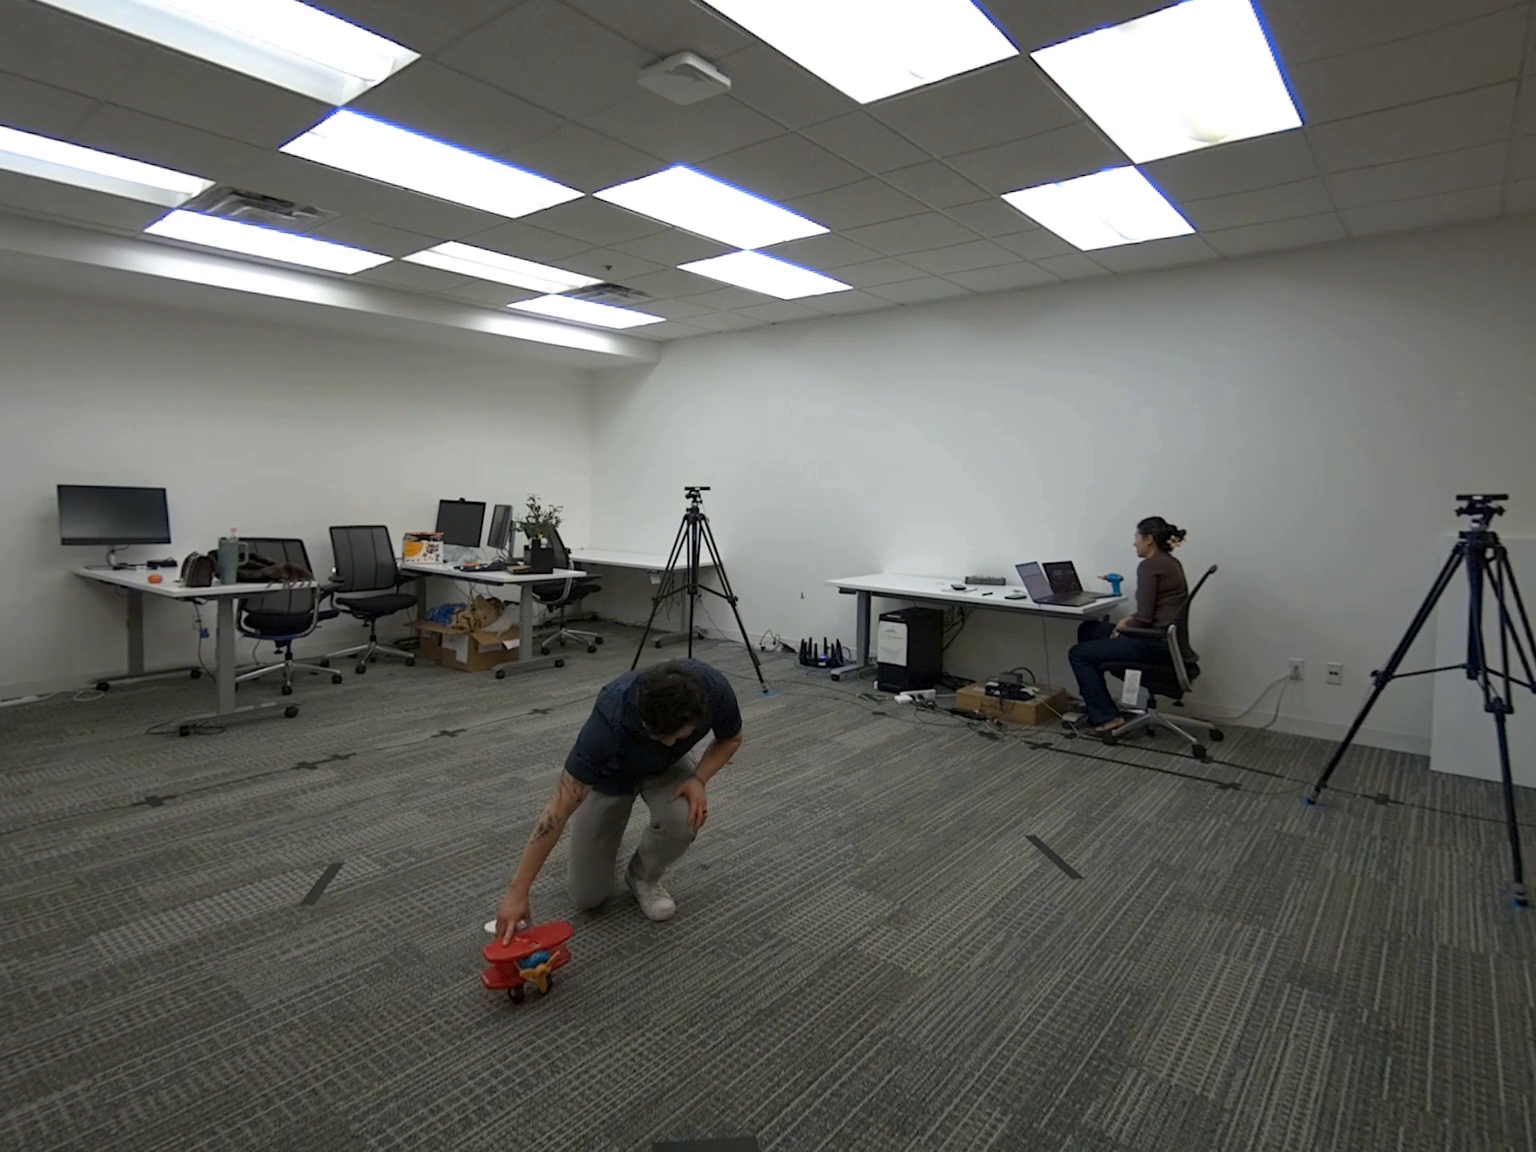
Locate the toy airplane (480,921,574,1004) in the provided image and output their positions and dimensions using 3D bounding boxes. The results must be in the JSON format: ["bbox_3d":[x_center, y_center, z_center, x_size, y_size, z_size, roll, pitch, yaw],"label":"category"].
[{"bbox_3d":[-0.700,1.036,2.342,0.265,0.154,0.248,24,23,16],"label":"toy airplane"}]
